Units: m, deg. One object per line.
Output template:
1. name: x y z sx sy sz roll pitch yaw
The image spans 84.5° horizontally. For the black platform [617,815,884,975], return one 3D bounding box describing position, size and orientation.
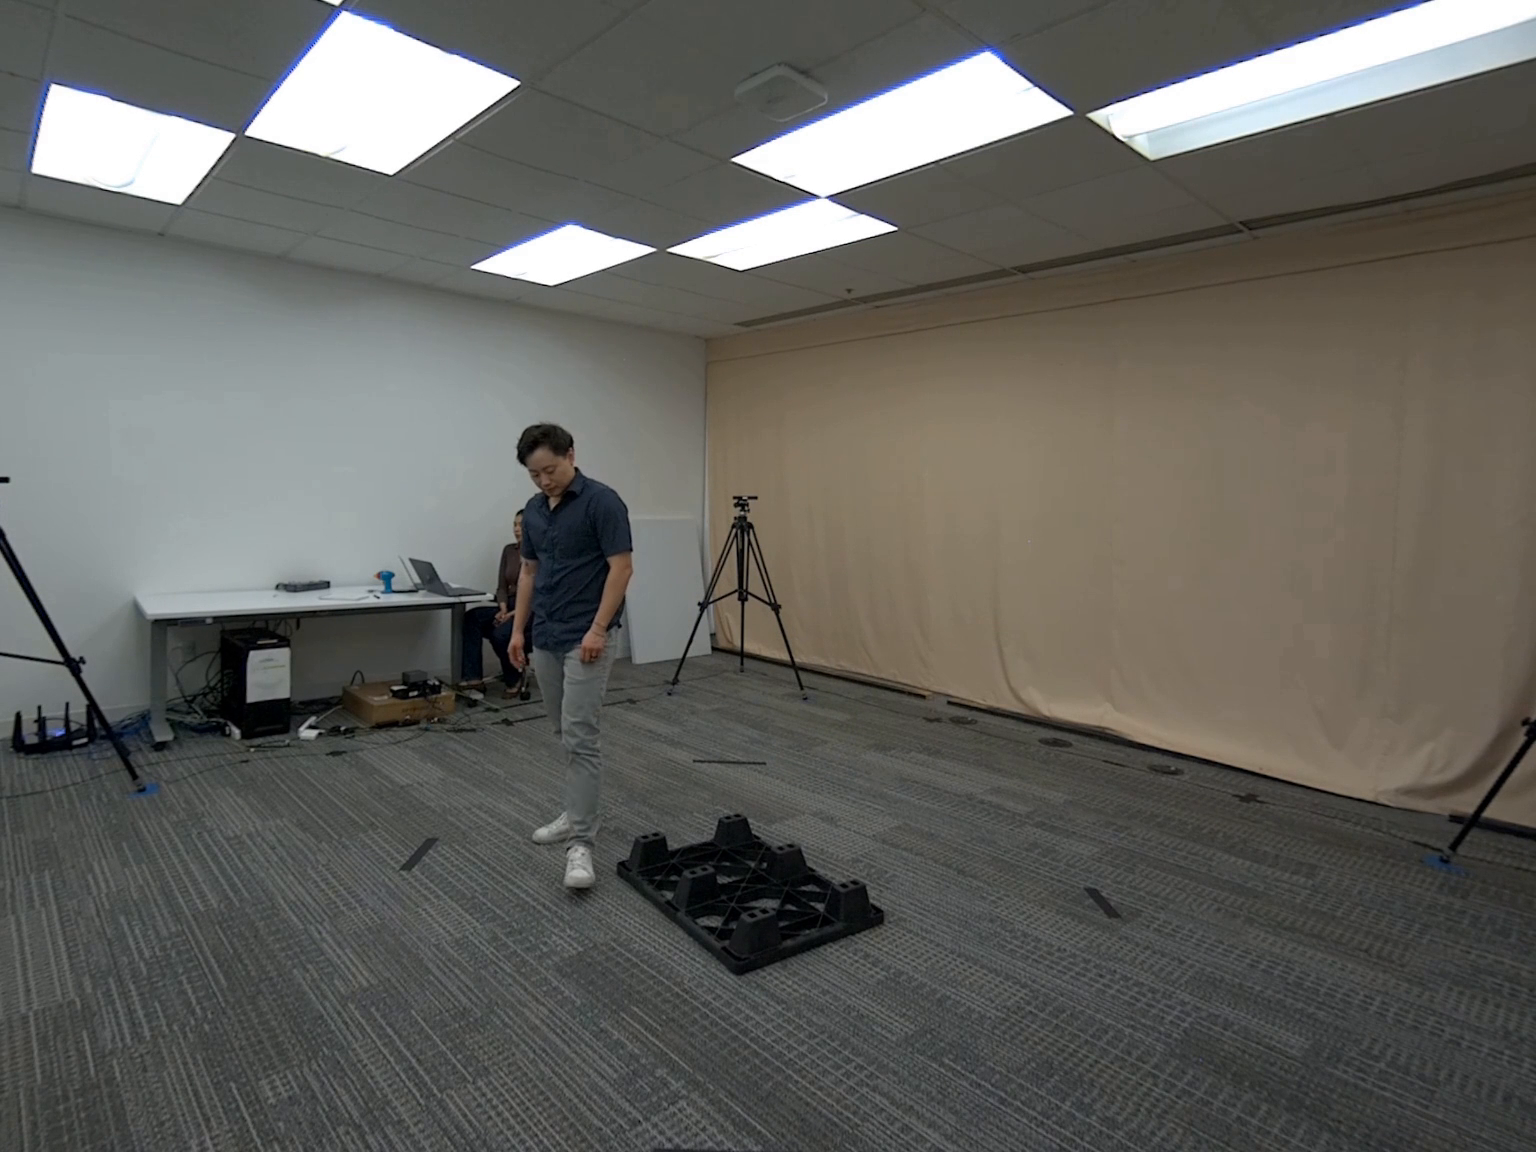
1. black platform: -0.096 1.055 2.932 0.592 0.143 0.825 -2 5 -36
